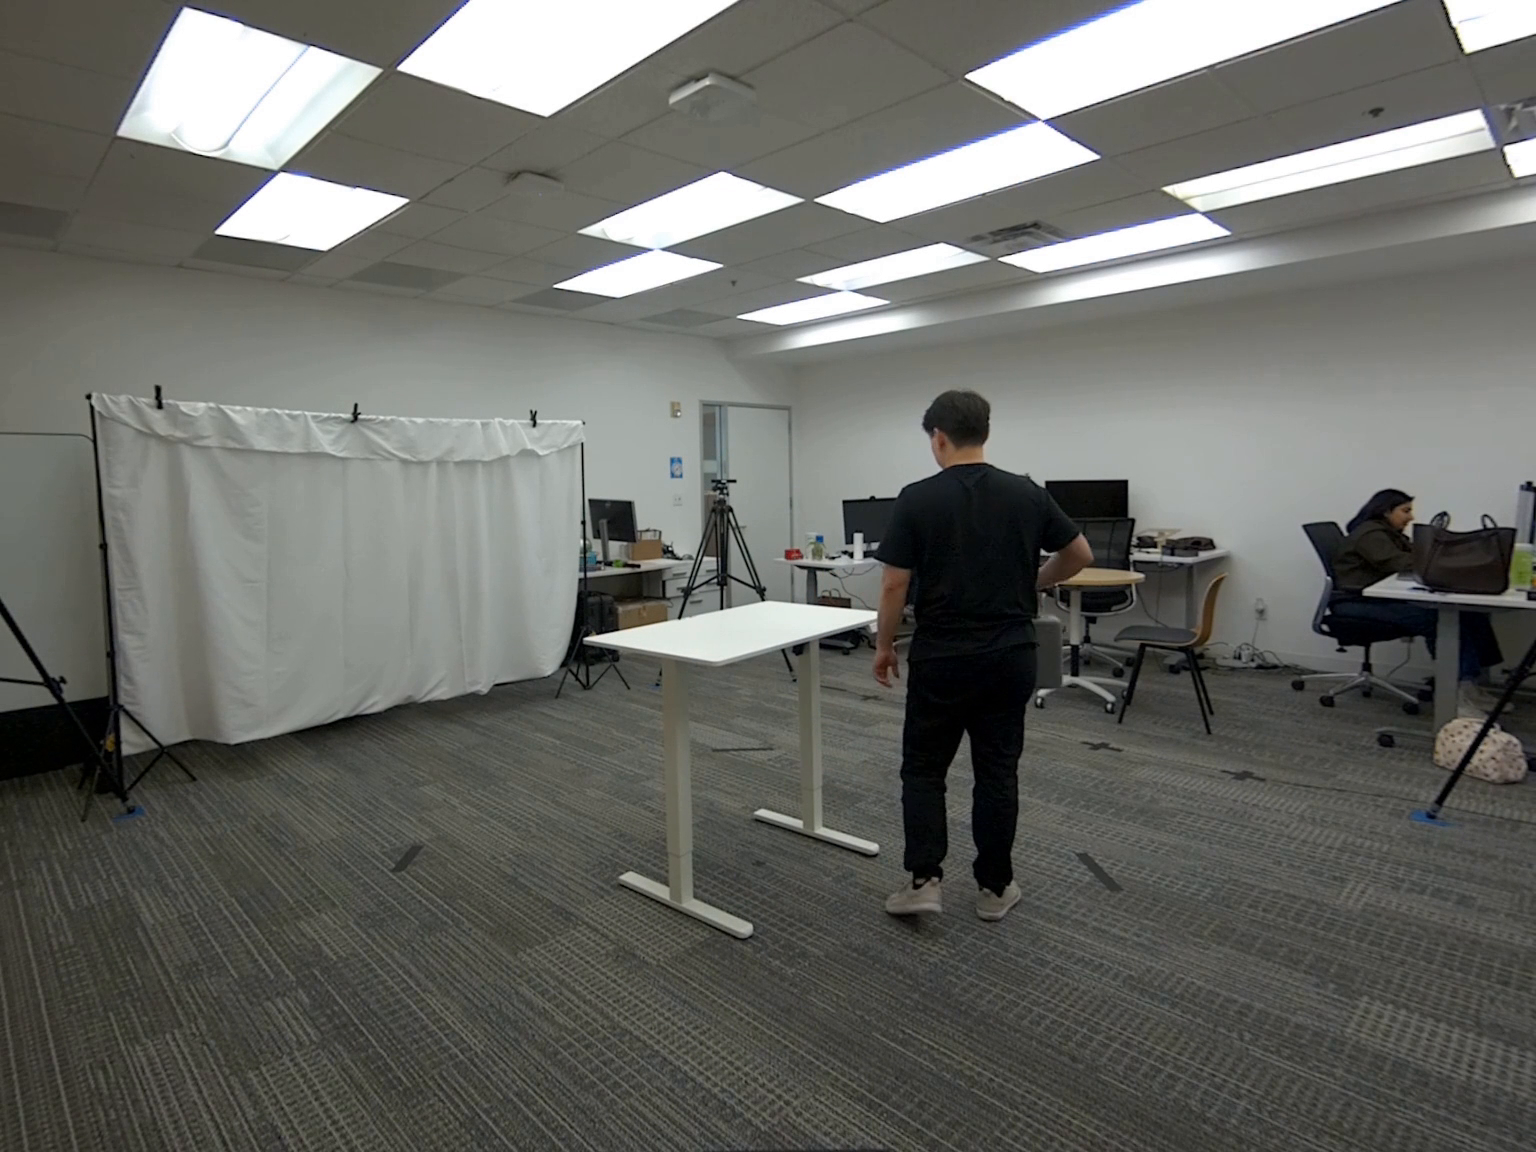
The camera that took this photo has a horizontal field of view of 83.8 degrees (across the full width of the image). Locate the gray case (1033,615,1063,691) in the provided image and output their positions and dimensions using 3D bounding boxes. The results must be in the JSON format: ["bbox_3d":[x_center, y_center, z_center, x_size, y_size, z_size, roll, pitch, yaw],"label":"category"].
[{"bbox_3d":[0.892,0.252,2.954,0.258,0.260,0.104,-4,4,5],"label":"gray case"}]
